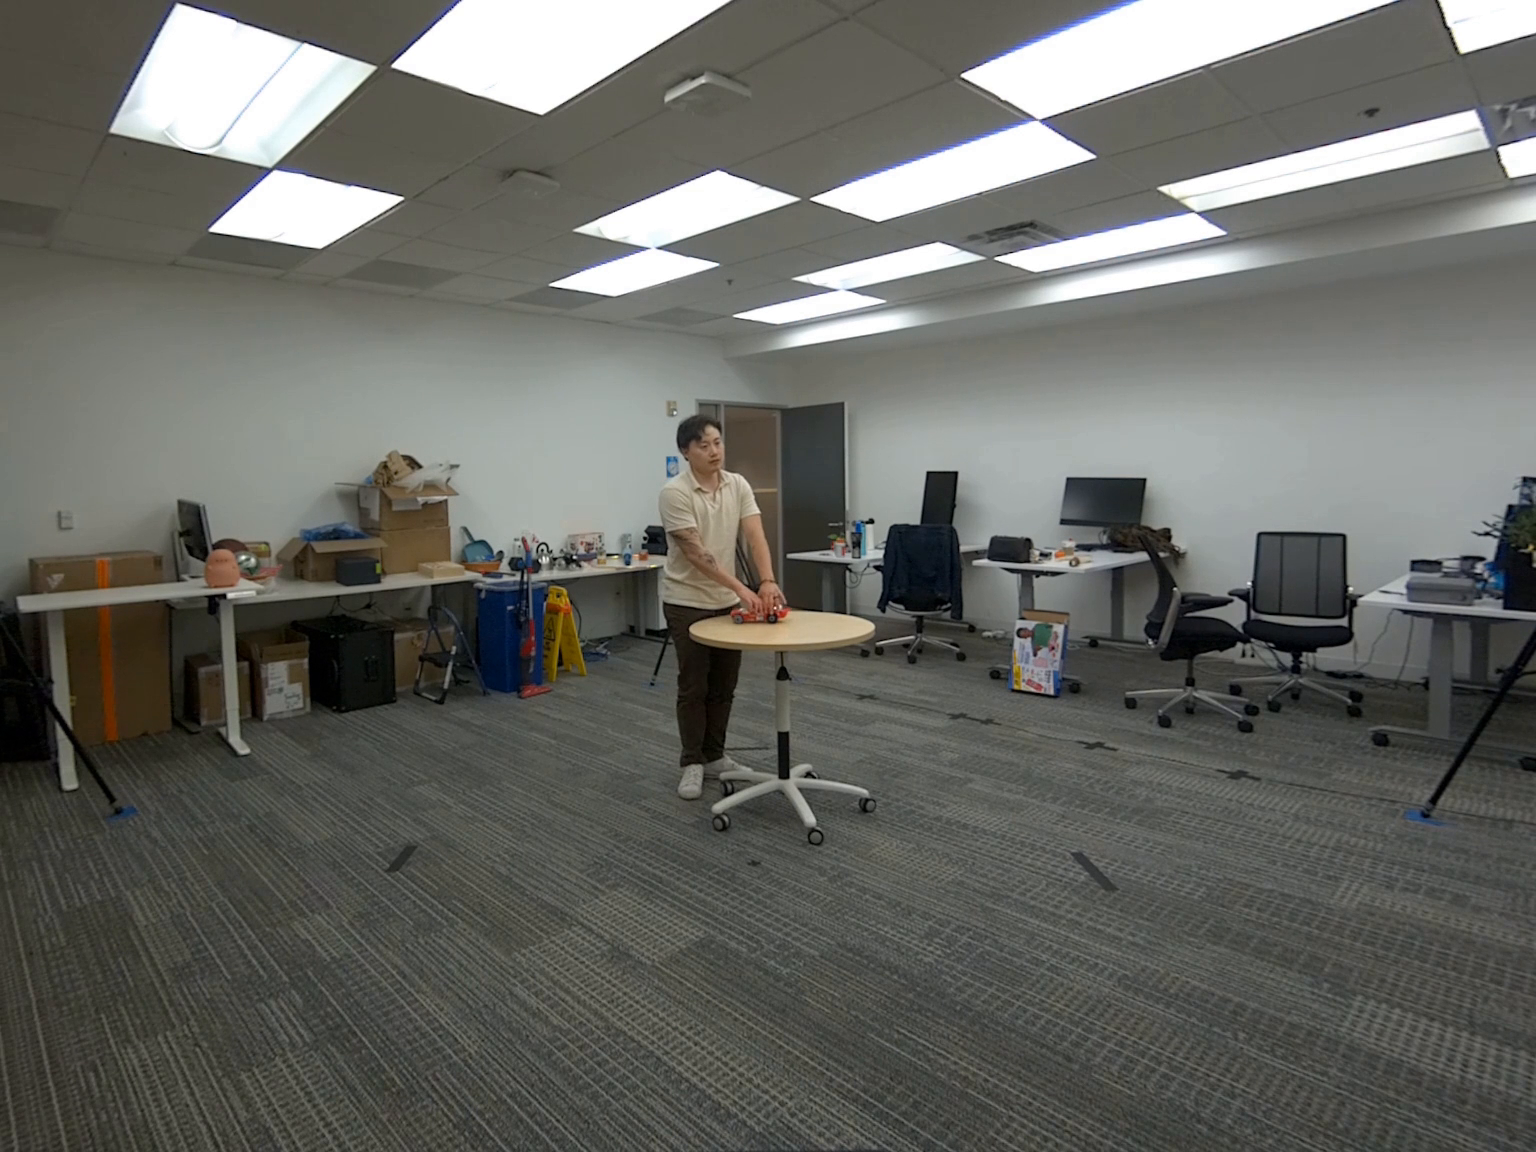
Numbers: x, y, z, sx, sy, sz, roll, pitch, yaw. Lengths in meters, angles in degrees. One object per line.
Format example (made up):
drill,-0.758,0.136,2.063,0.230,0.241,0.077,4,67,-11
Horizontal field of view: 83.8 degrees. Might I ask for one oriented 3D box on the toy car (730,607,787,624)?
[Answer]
toy car,-0.022,0.168,3.661,0.255,0.083,0.130,-12,6,5
